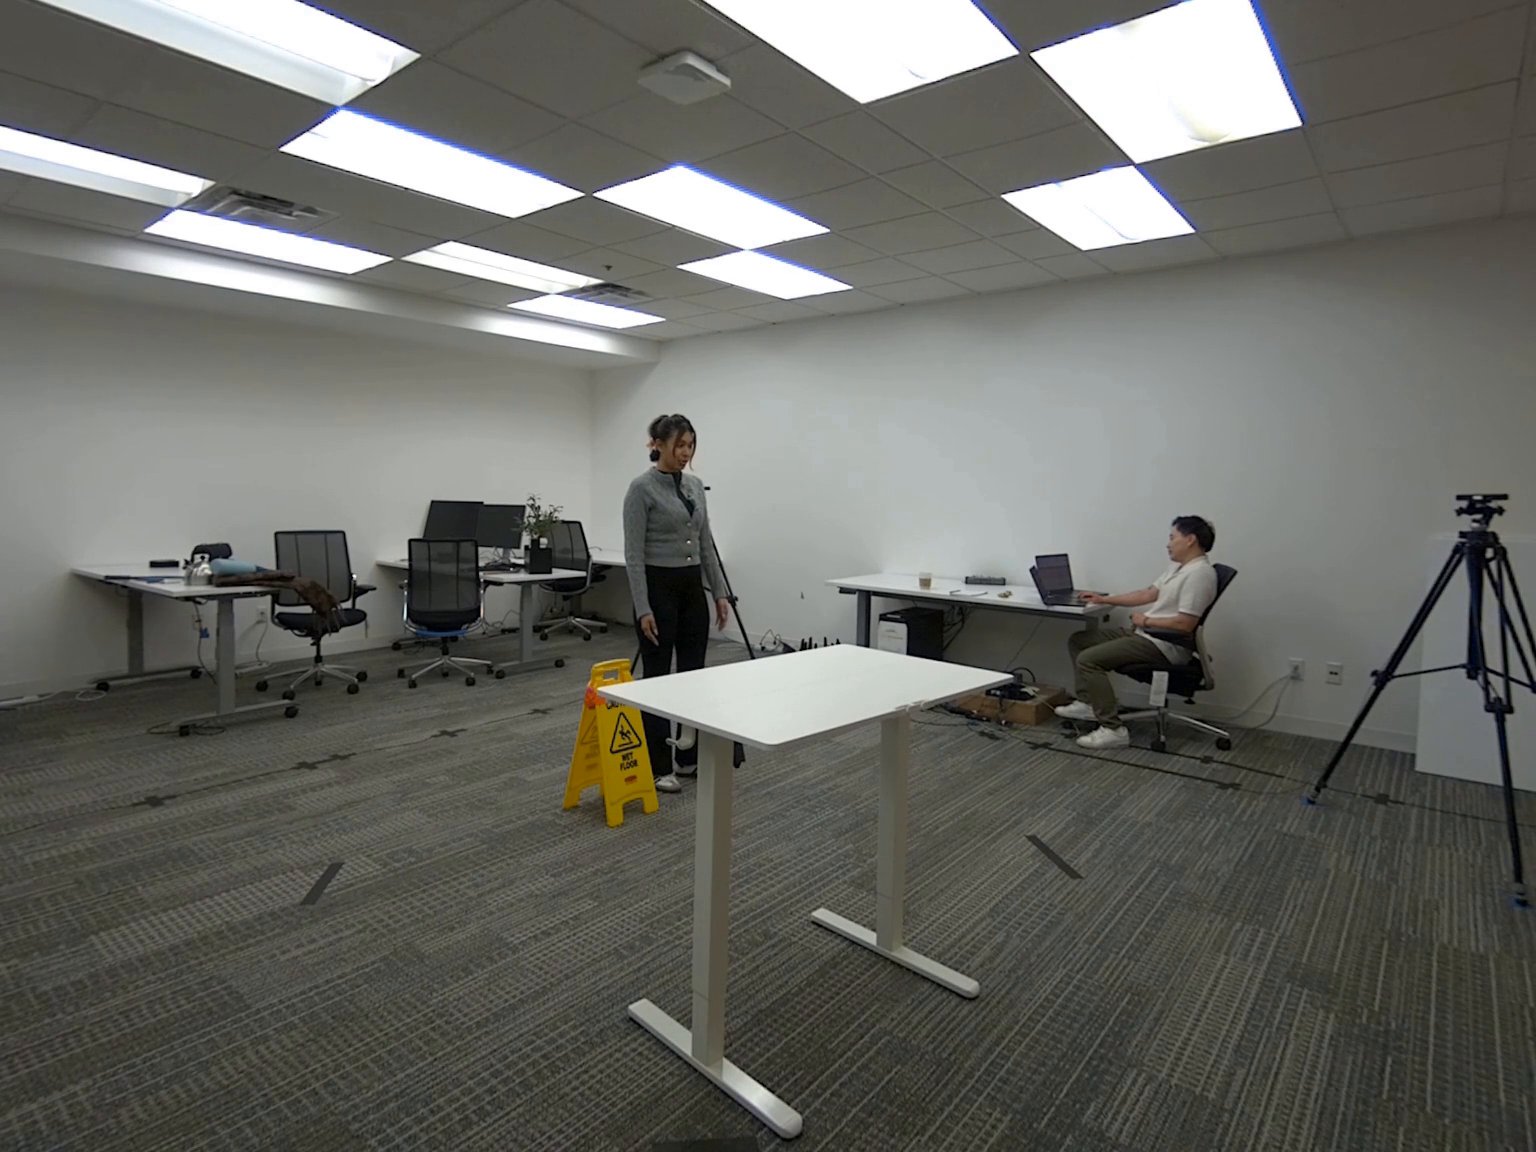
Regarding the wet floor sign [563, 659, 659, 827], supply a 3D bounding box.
[{"bbox_3d":[-0.686,0.686,3.657,0.299,0.644,0.274,3,4,40],"label":"wet floor sign"}]
